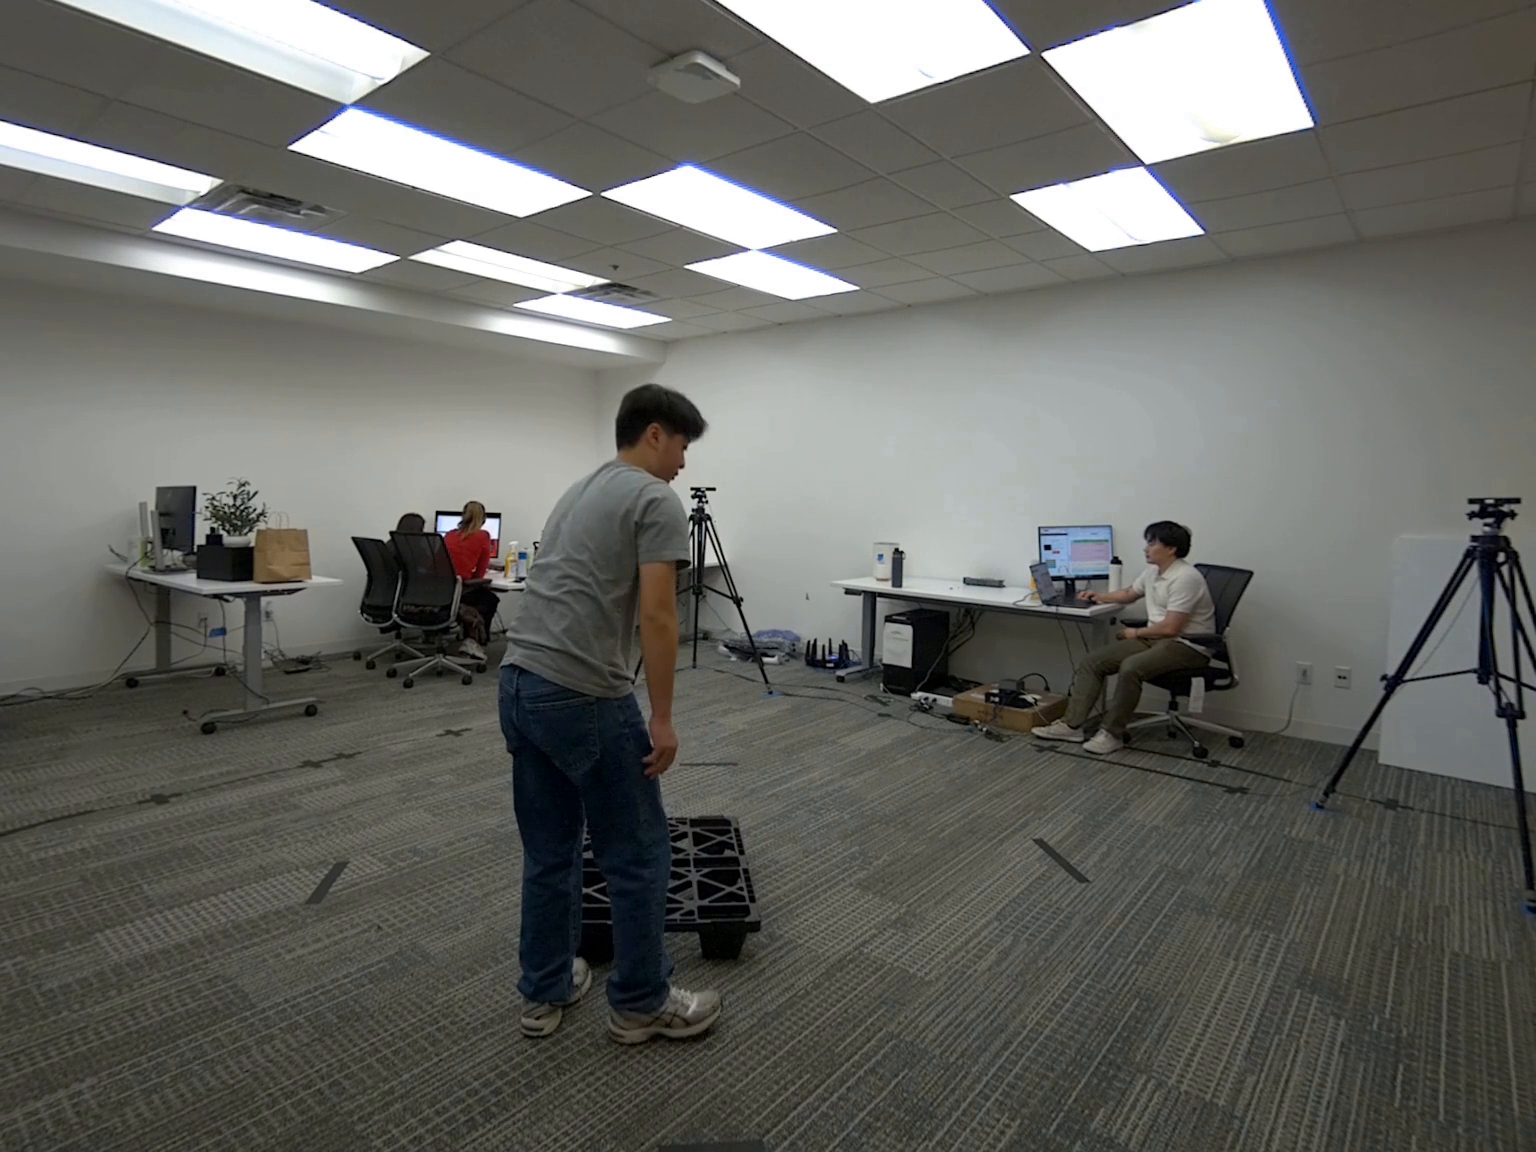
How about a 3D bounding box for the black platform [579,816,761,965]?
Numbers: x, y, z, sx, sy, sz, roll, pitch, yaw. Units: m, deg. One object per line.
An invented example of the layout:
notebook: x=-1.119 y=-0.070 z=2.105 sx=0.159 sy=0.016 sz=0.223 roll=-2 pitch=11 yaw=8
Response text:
black platform: x=-0.368 y=1.019 z=2.854 sx=0.602 sy=0.143 sz=0.813 roll=1 pitch=6 yaw=-6
